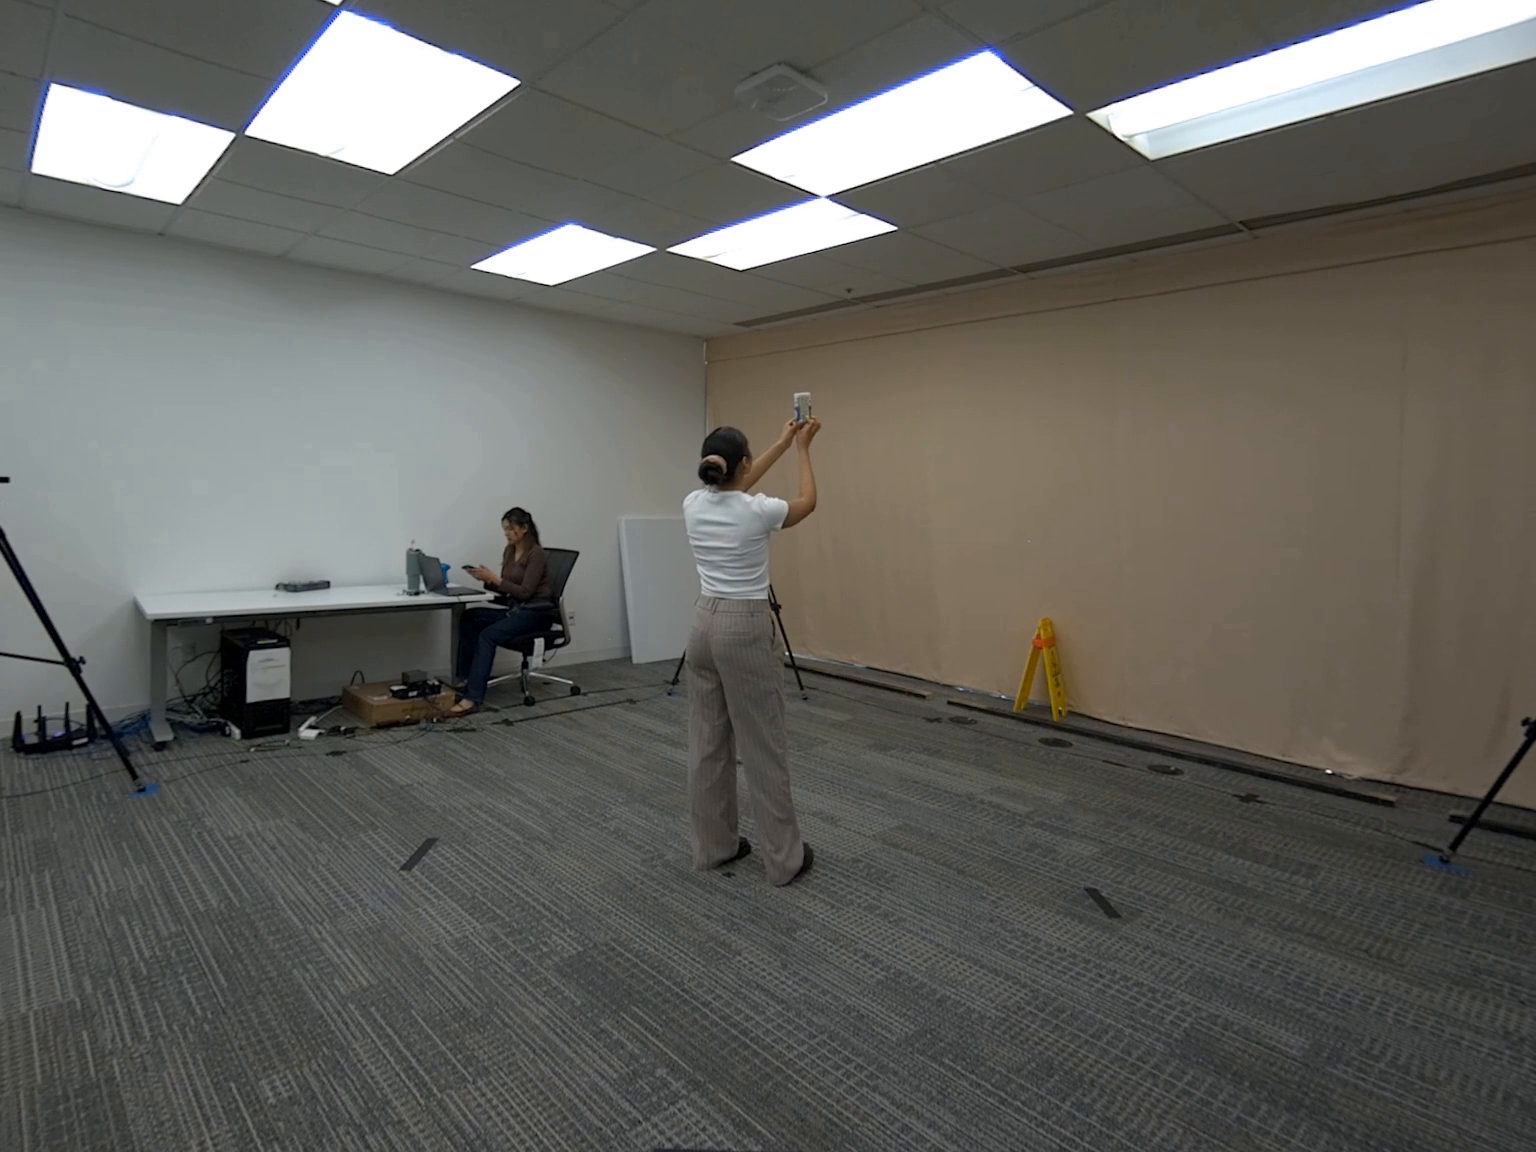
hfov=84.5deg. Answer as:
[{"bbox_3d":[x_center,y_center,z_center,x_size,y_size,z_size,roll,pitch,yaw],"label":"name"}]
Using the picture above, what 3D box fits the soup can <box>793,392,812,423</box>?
[{"bbox_3d":[0.134,-0.669,3.334,0.067,0.121,0.067,-1,8,-1],"label":"soup can"}]
